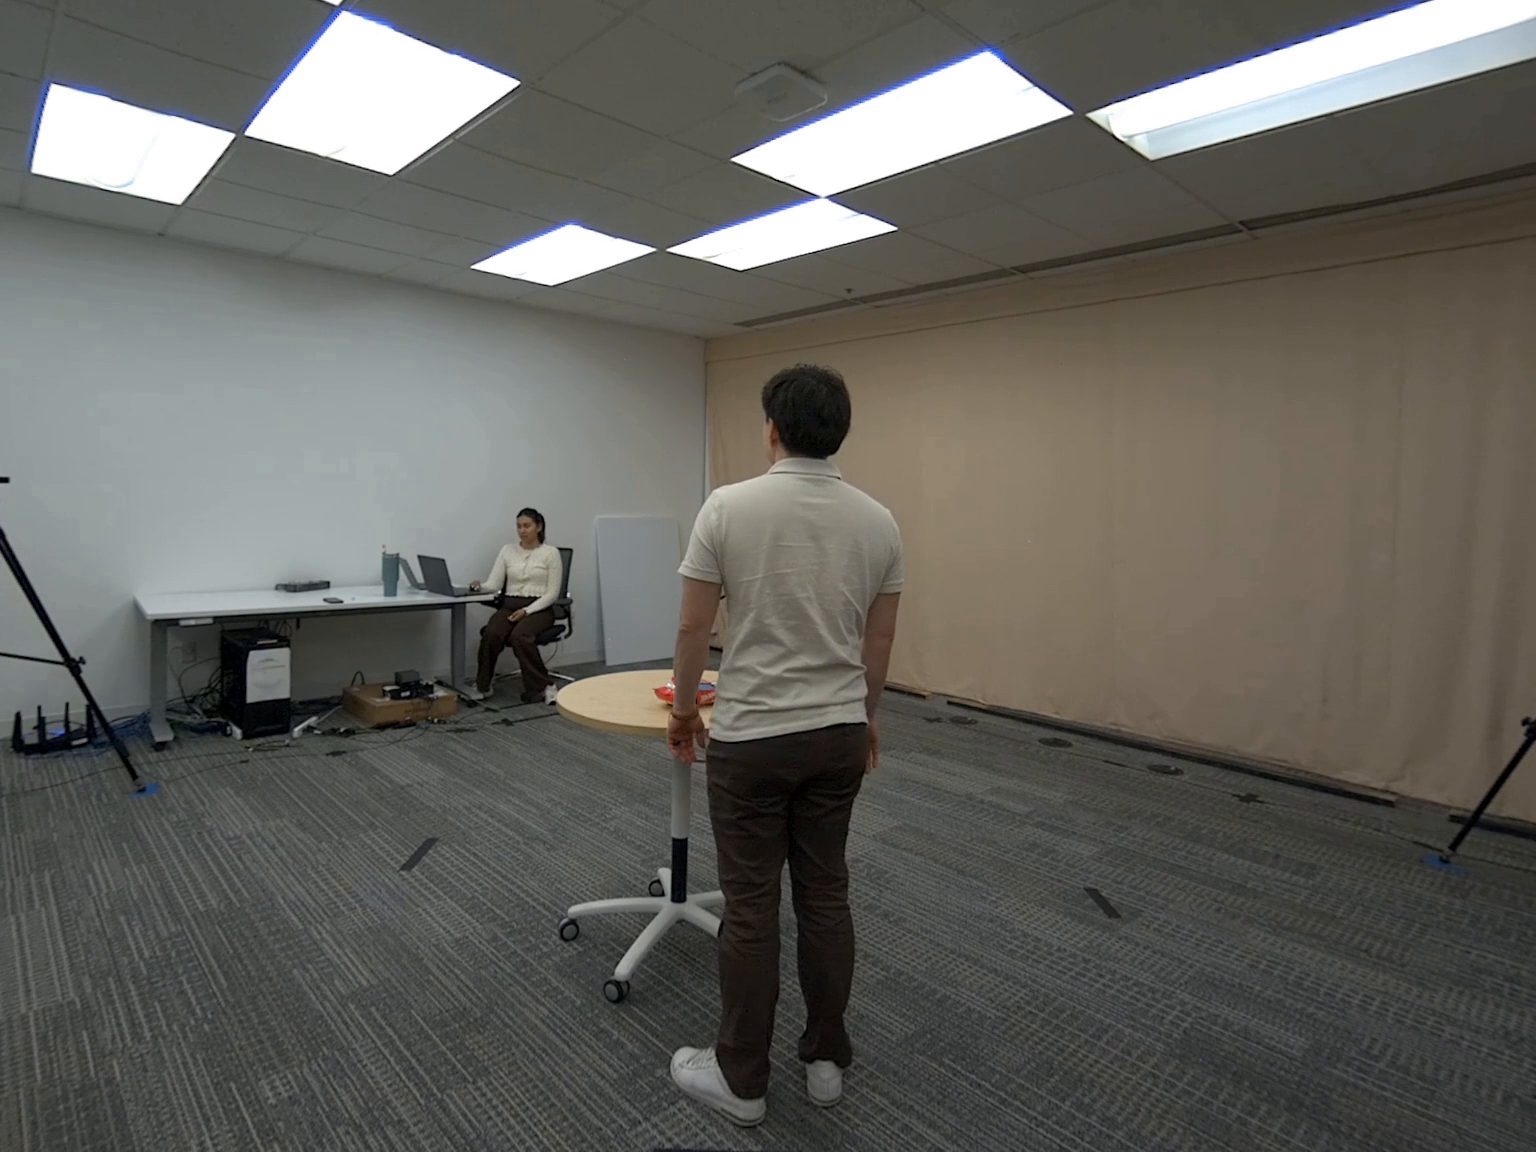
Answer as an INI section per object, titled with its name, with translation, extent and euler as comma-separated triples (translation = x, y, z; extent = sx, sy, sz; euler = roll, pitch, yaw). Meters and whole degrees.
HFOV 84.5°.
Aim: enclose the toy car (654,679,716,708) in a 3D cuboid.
[toy car]
translation = -0.222, 0.350, 2.441
extent = 0.248, 0.083, 0.133
euler = 12, -3, -37
